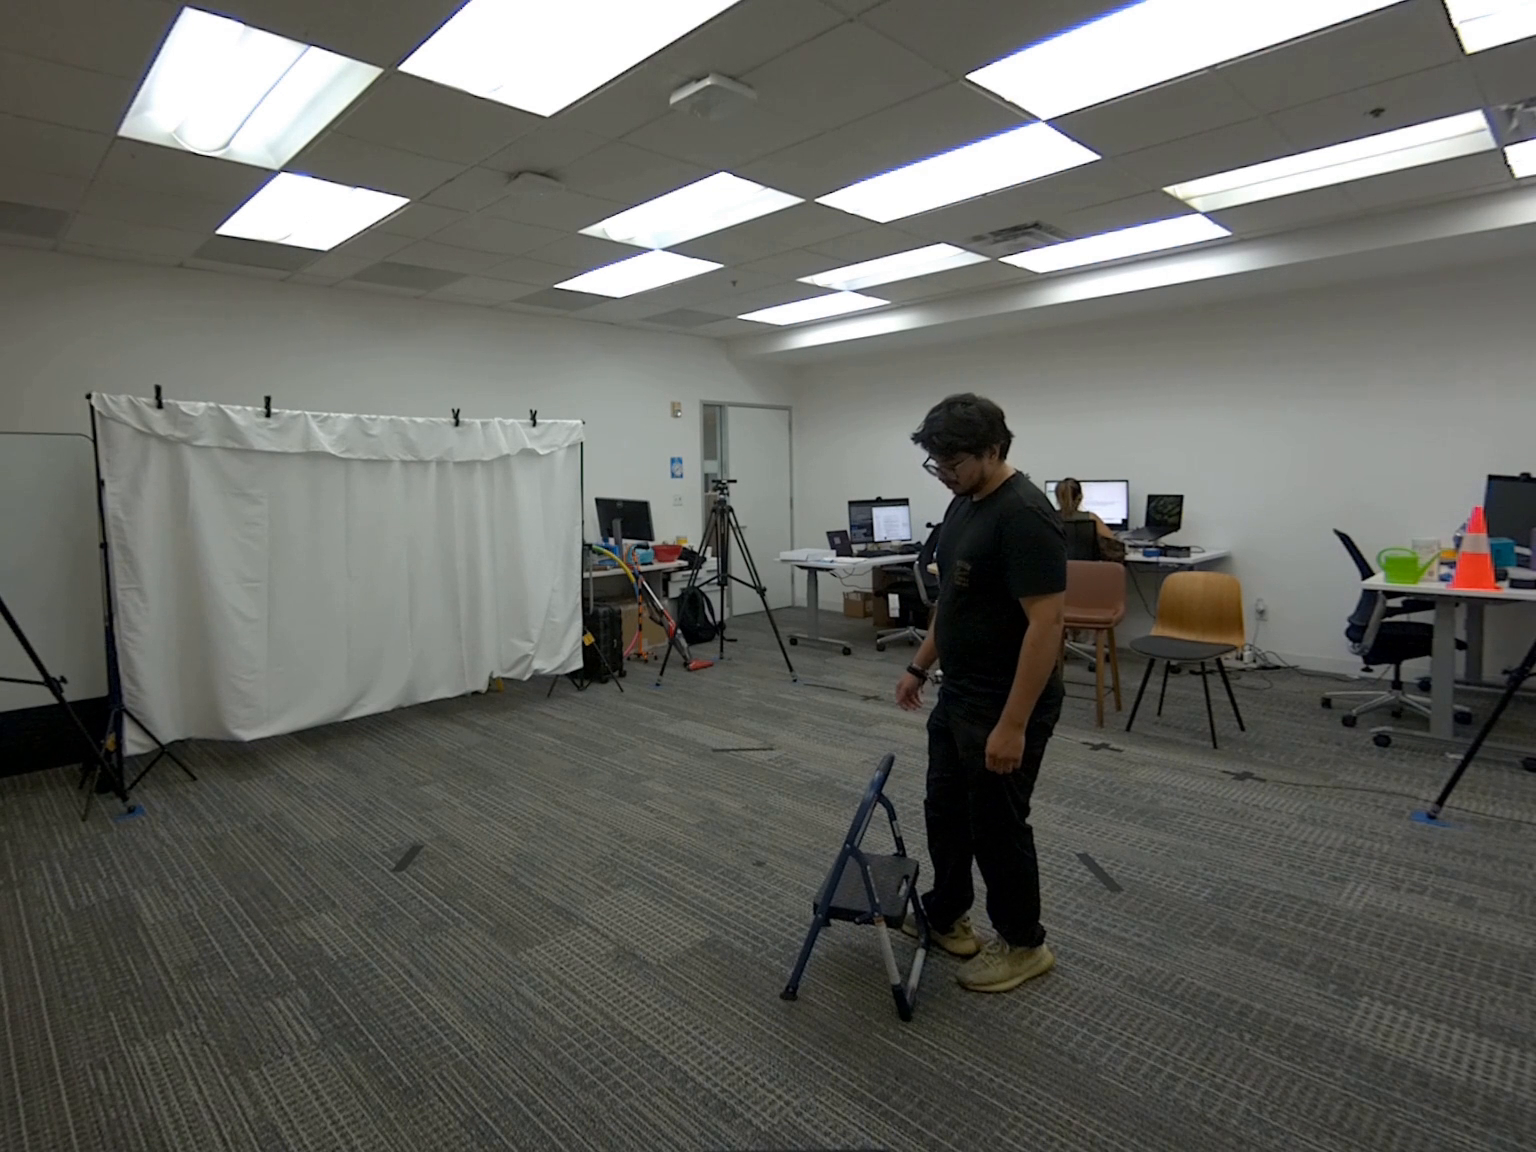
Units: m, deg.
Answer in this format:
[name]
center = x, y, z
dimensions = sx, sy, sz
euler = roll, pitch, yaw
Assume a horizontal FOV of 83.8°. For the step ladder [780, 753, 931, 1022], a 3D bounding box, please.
[step ladder]
center = 0.273, 0.825, 2.410
dimensions = 0.355, 0.603, 0.425
euler = 1, 5, 17
